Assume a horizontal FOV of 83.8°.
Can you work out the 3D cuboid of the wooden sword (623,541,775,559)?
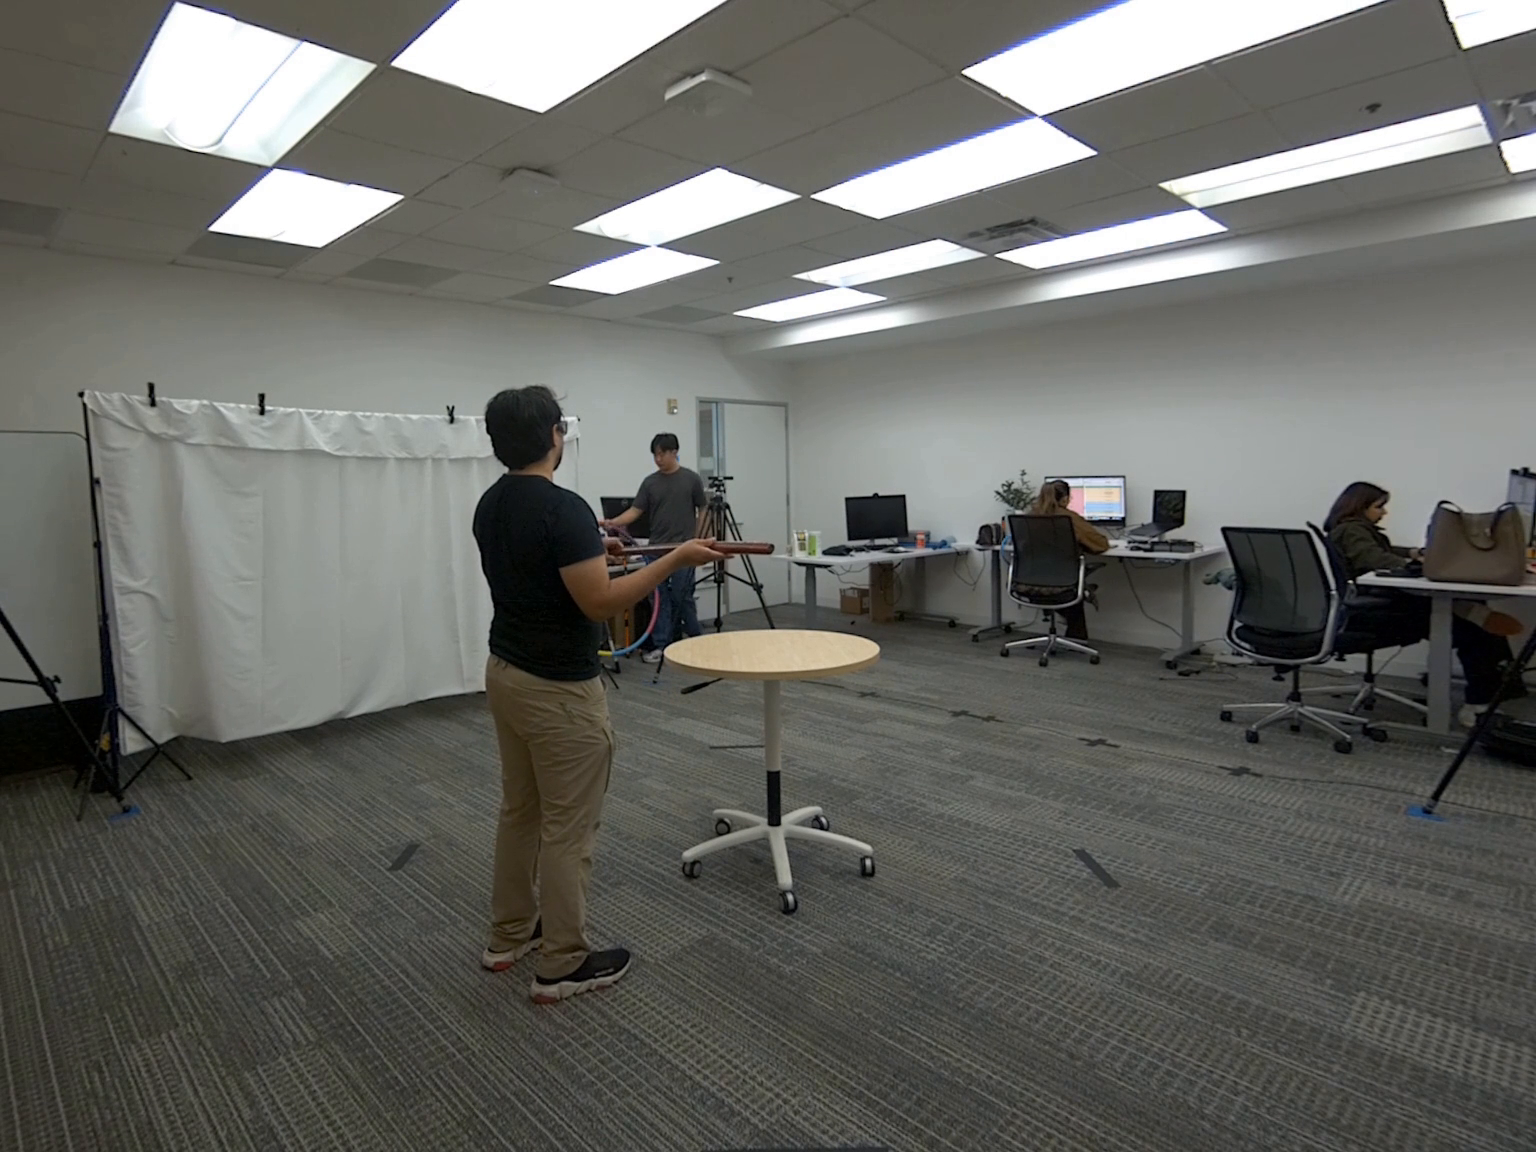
[{"bbox_3d":[-0.338,-0.077,2.555,0.050,0.024,1.053,-9,6,-43],"label":"wooden sword"}]
